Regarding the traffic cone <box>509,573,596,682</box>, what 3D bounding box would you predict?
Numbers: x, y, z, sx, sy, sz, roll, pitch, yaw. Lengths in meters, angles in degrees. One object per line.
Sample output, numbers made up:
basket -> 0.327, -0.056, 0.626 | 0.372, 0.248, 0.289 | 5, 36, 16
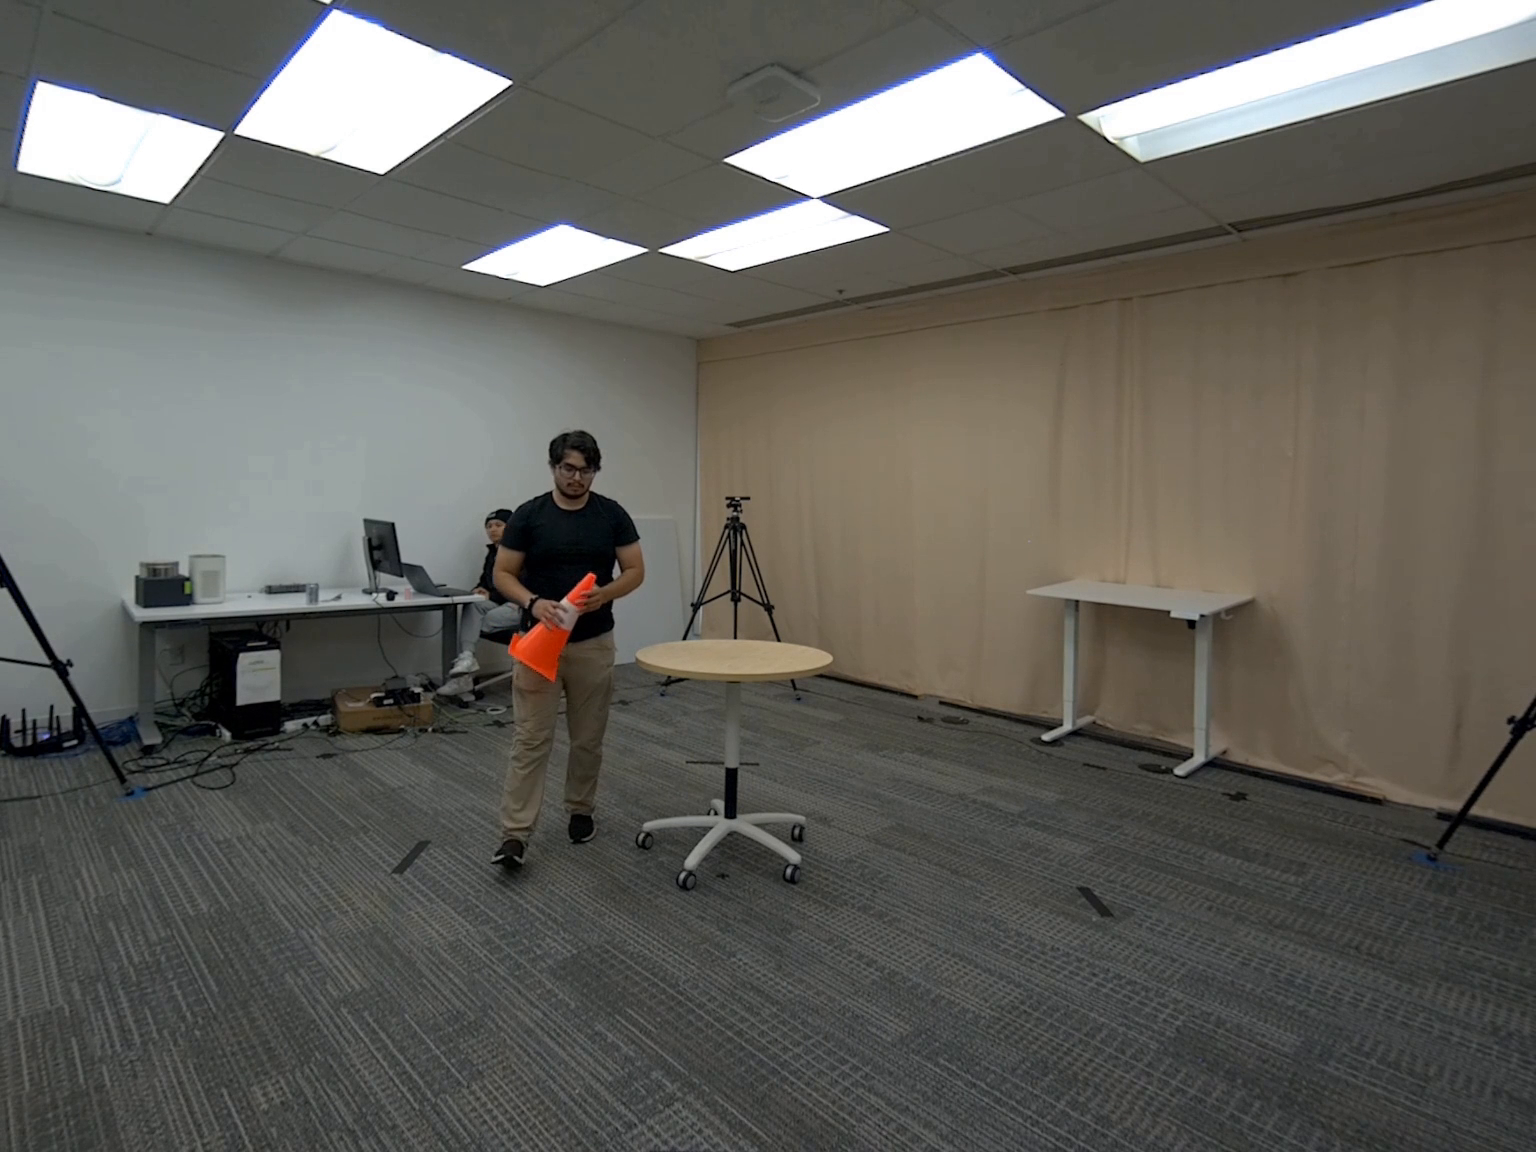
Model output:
traffic cone -> -0.768, 0.150, 3.059 | 0.200, 0.383, 0.208 | 33, 9, -15
